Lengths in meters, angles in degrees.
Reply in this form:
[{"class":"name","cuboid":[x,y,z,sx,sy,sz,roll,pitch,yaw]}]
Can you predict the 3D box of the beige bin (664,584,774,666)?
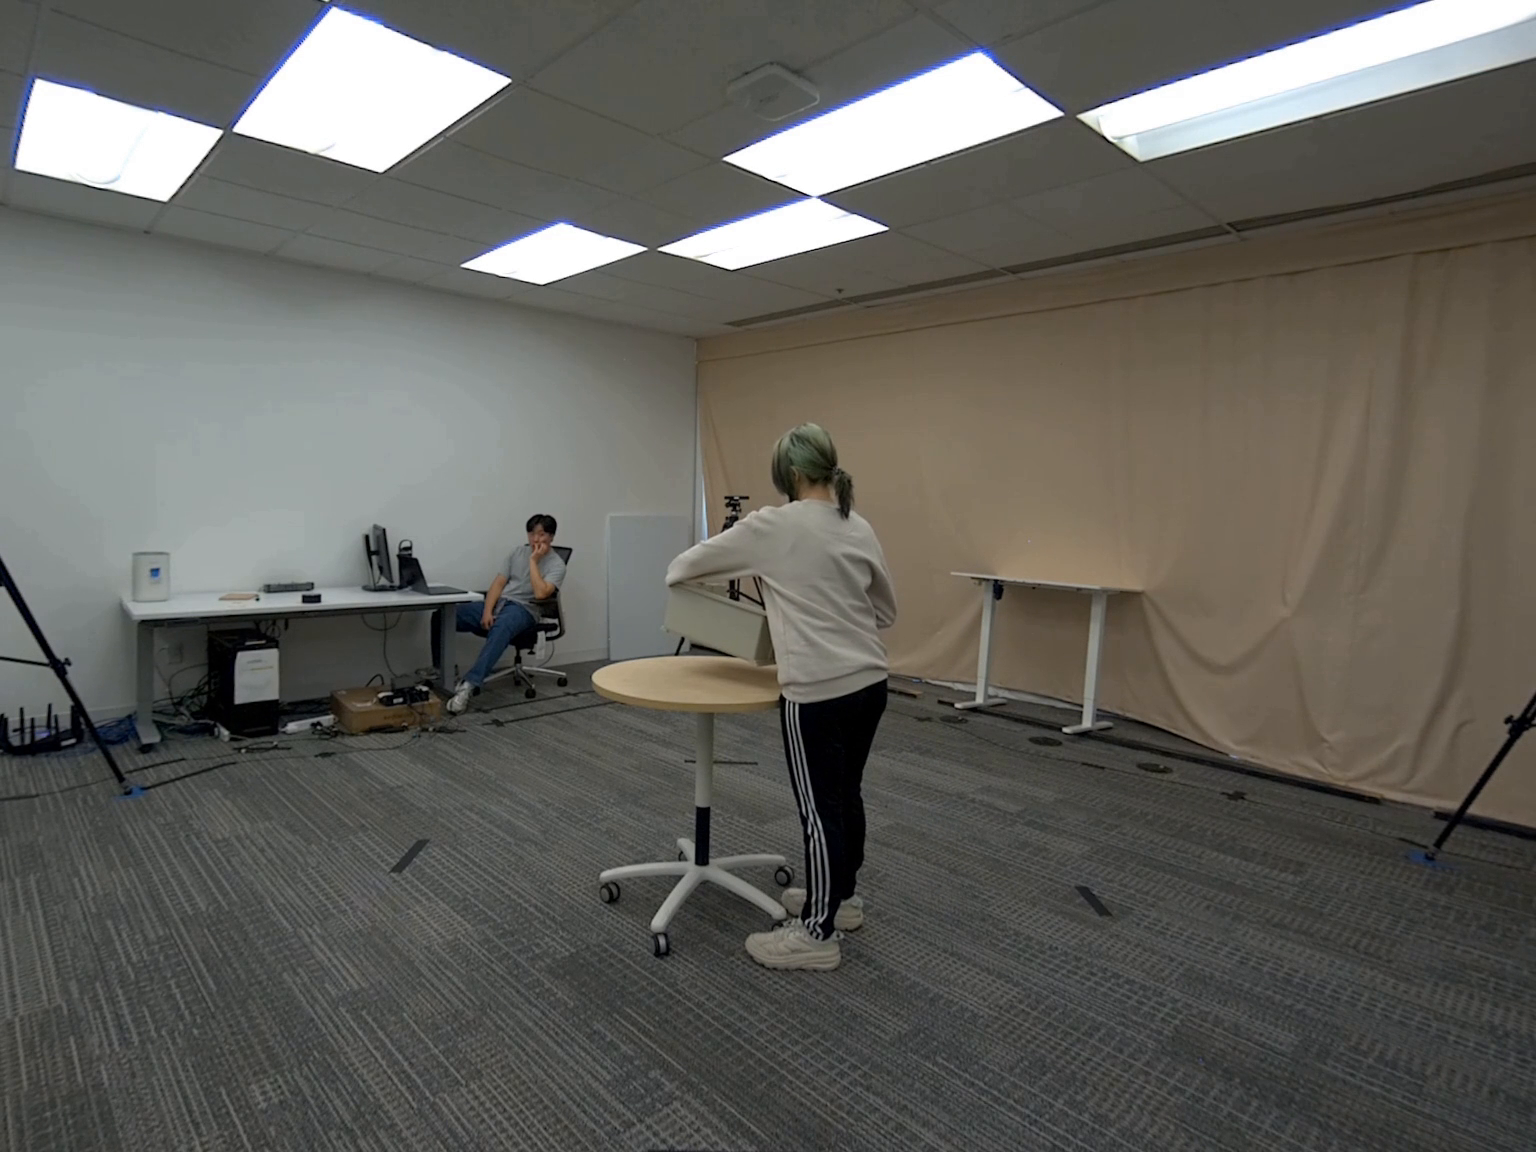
[{"class":"beige bin","cuboid":[-0.091,0.152,2.896,0.434,0.188,0.369,17,9,33]}]
